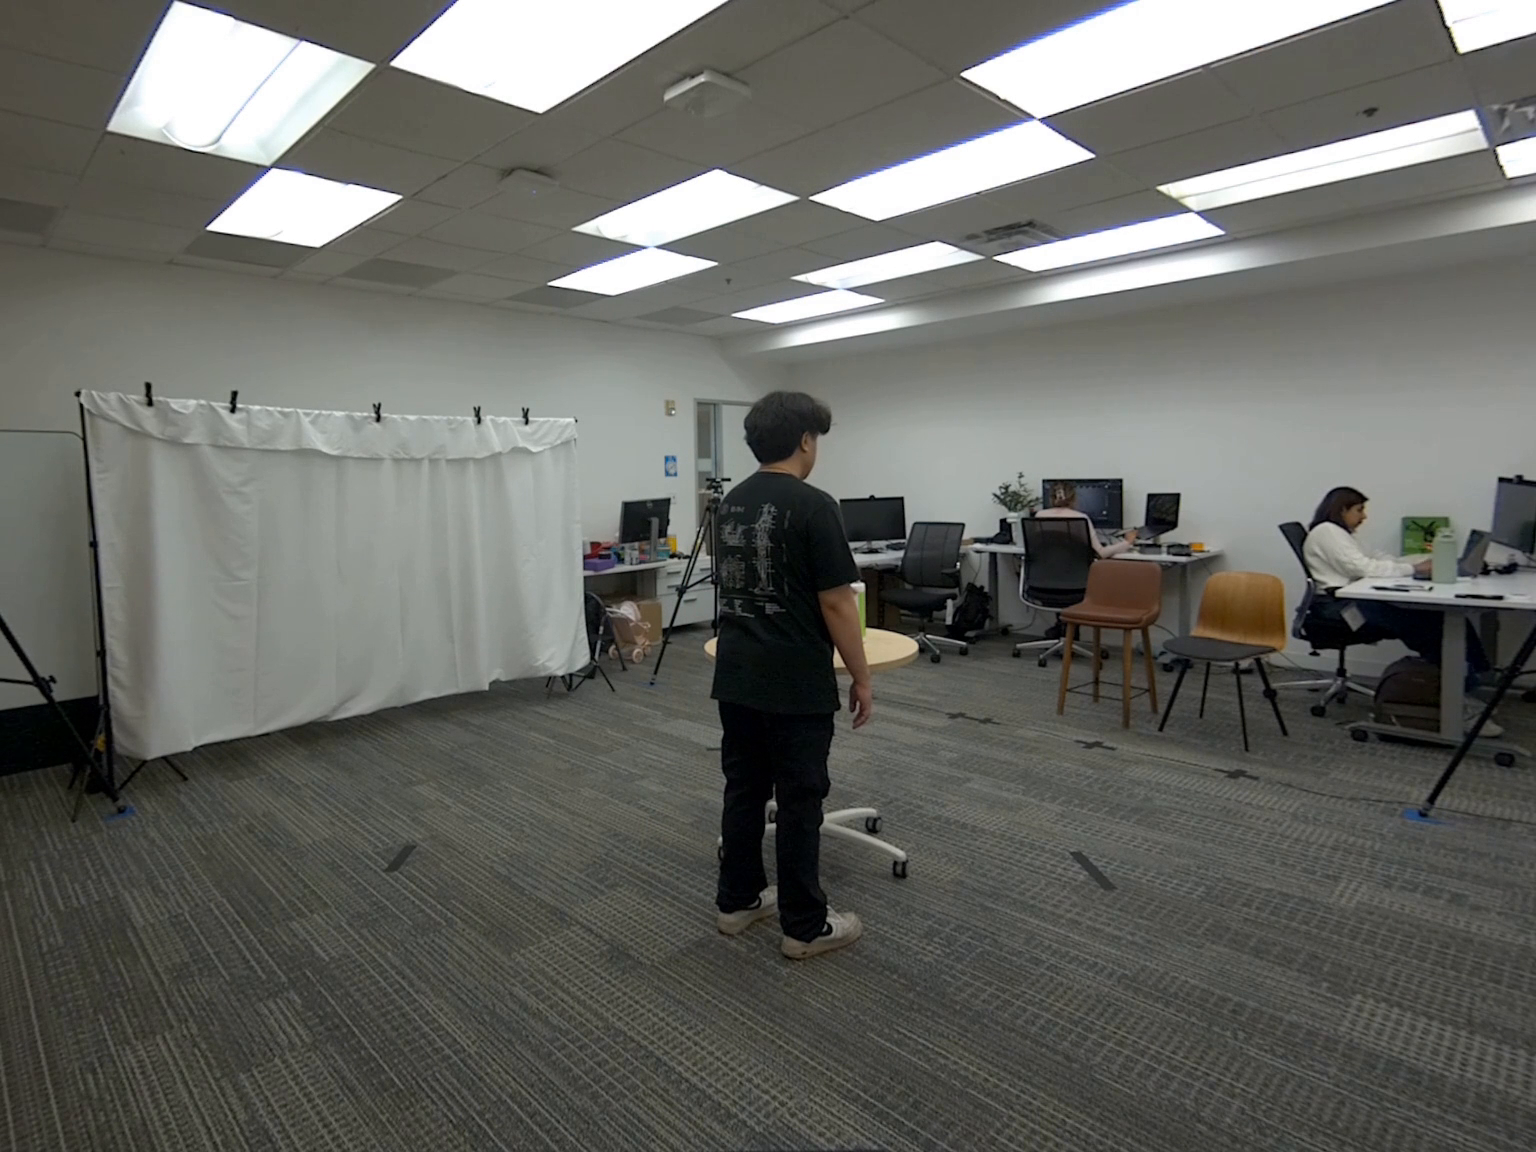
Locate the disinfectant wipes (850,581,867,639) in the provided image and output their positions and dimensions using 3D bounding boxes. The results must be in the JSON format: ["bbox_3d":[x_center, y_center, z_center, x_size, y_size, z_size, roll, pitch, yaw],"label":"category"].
[{"bbox_3d":[0.301,0.135,3.104,0.118,0.216,0.118,-2,5,-2],"label":"disinfectant wipes"}]
